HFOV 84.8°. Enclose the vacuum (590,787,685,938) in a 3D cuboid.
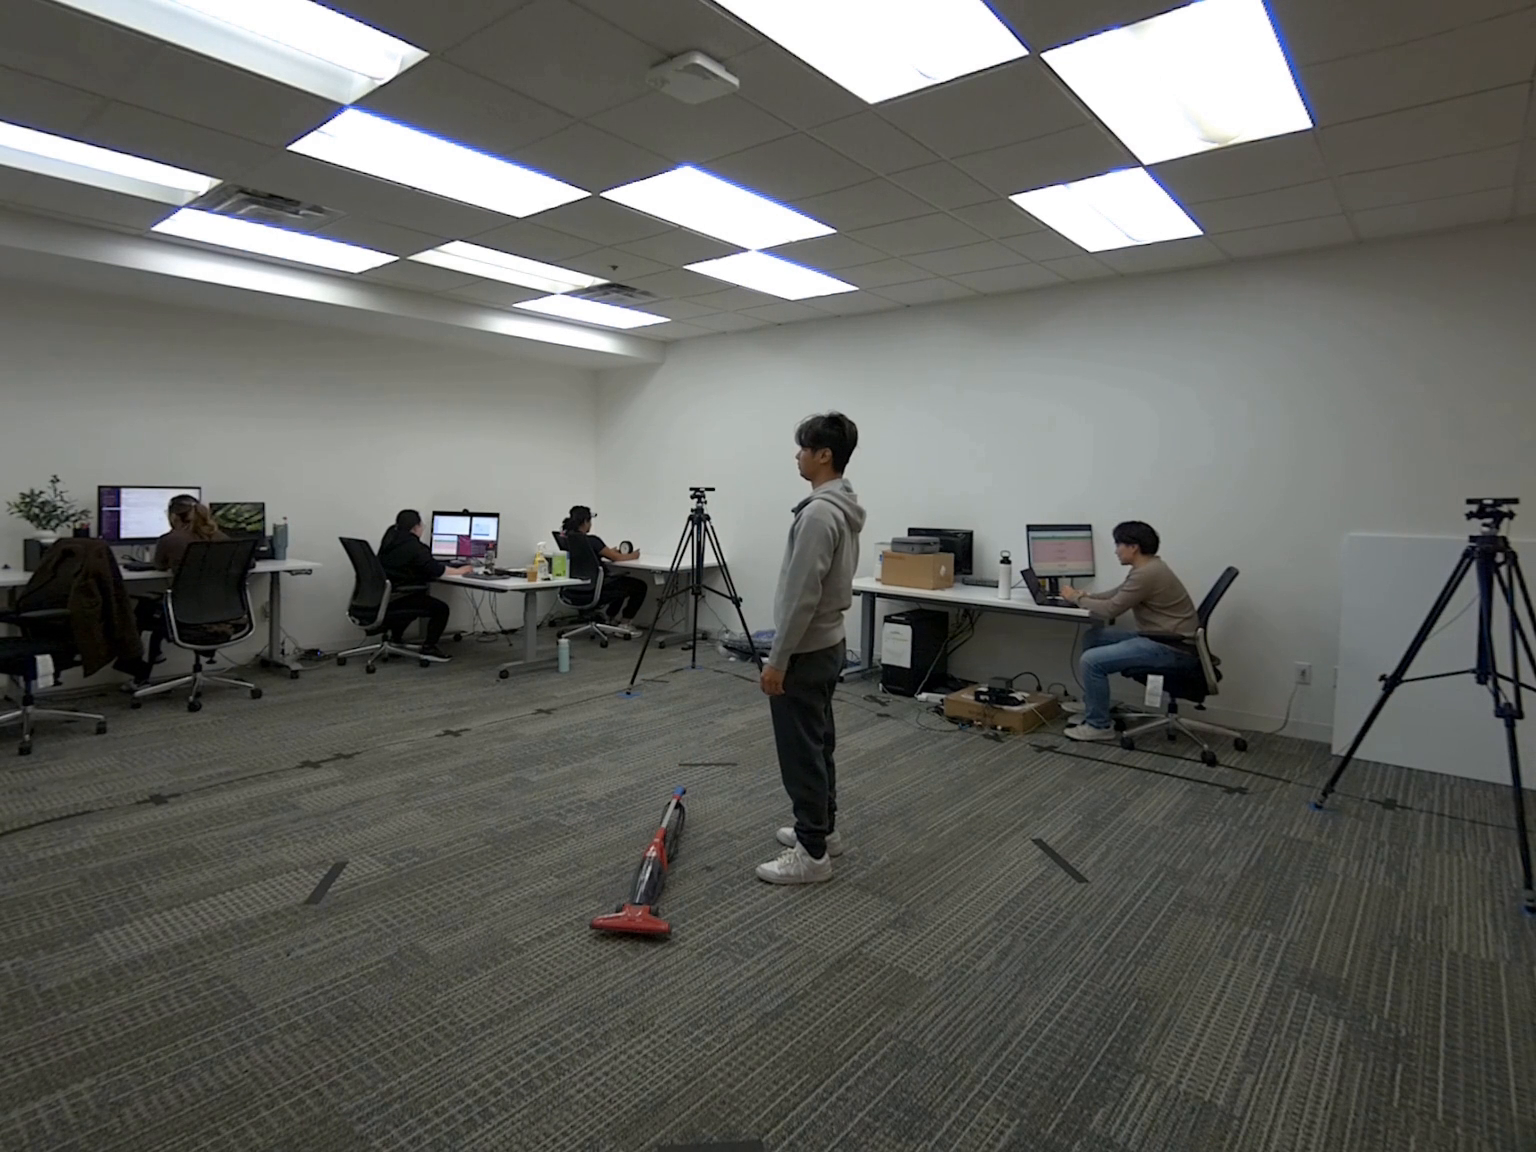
[{"bbox_3d":[-0.397,0.991,3.178,0.253,0.143,1.052,2,8,1],"label":"vacuum"}]
